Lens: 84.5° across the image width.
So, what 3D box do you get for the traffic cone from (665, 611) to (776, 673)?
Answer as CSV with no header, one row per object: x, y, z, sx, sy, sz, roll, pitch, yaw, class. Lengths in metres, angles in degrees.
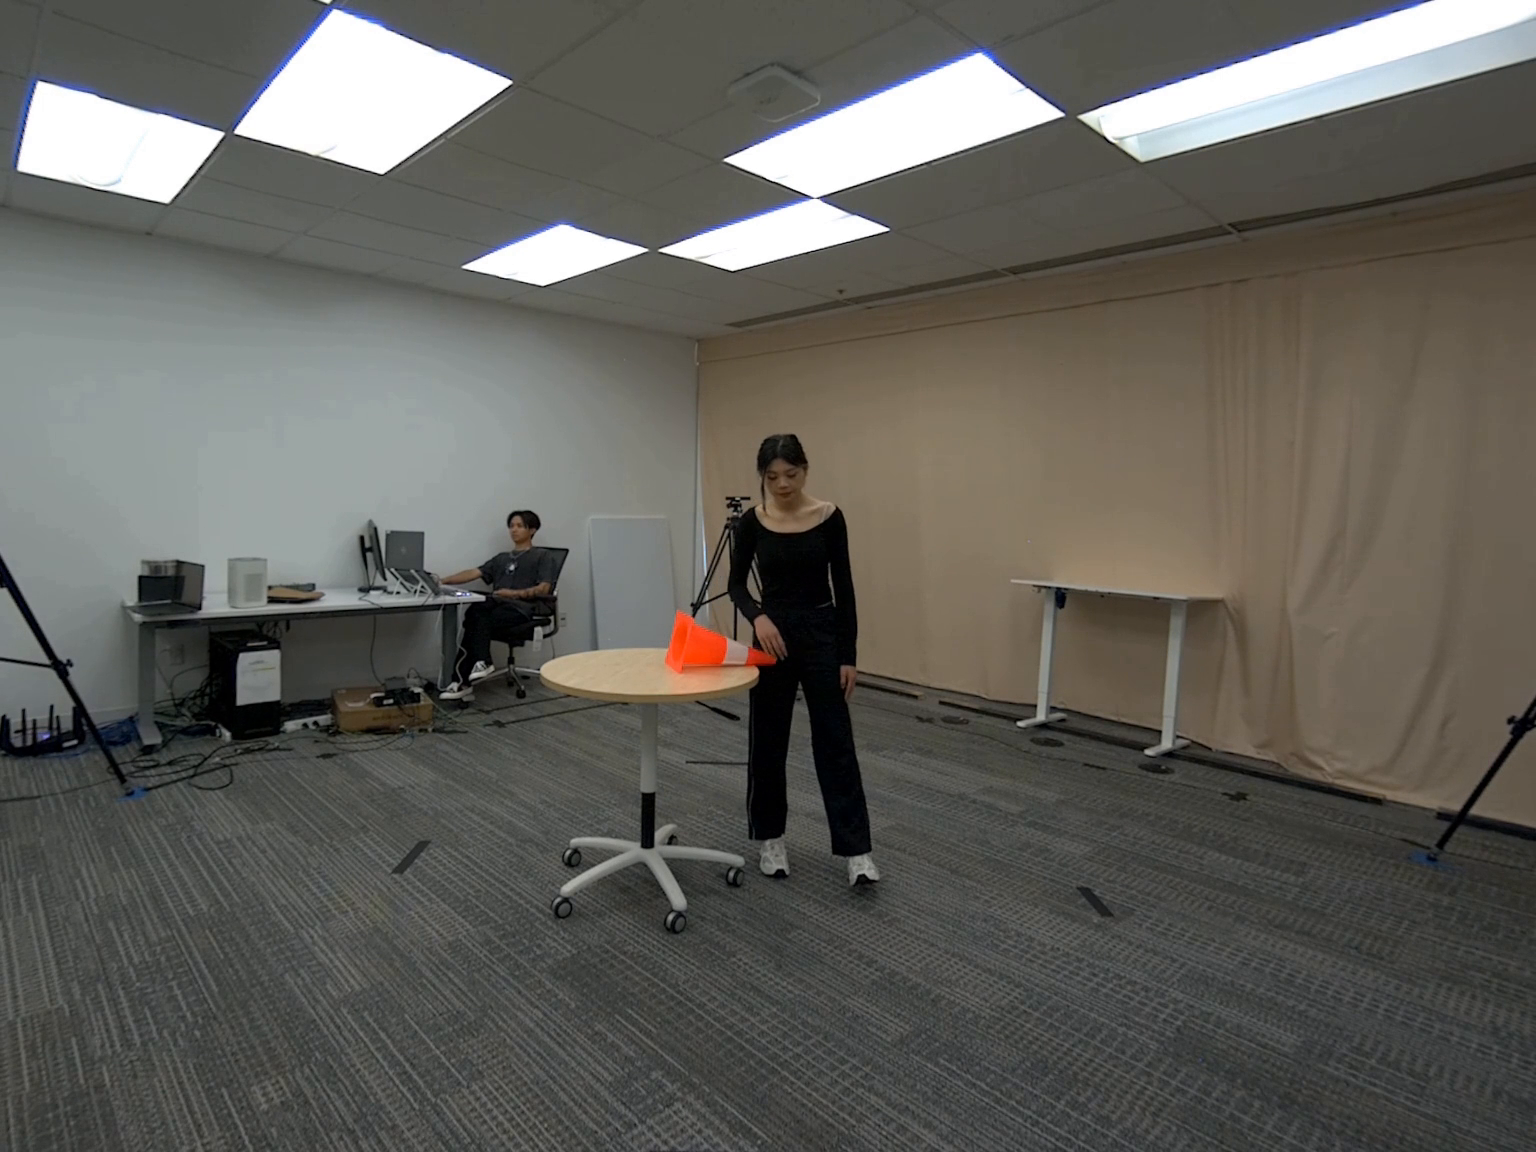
-0.152,0.276,3.039,0.378,0.203,0.208,14,1,-17,traffic cone
